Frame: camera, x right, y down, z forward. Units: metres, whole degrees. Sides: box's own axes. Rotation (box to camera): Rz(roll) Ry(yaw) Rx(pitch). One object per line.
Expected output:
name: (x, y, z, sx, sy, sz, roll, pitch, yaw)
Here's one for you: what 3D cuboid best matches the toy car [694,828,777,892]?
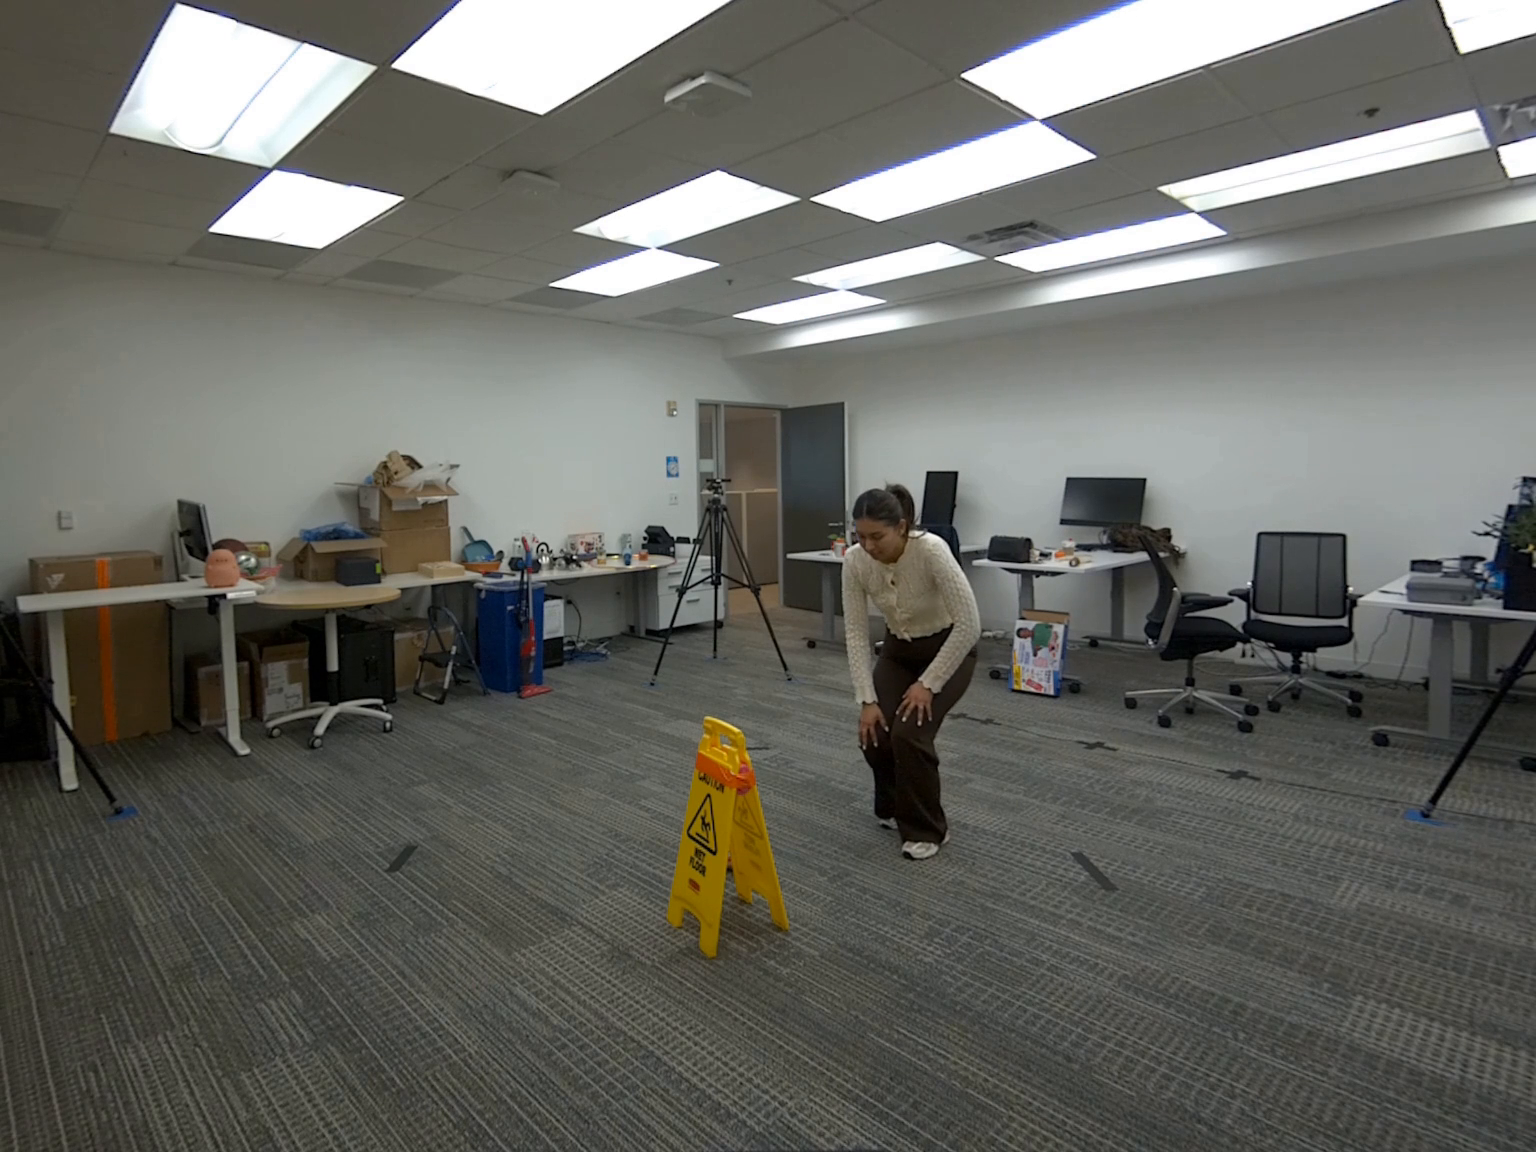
toy car: (-0.120, 1.016, 3.081, 0.261, 0.082, 0.128, 14, 12, 25)
